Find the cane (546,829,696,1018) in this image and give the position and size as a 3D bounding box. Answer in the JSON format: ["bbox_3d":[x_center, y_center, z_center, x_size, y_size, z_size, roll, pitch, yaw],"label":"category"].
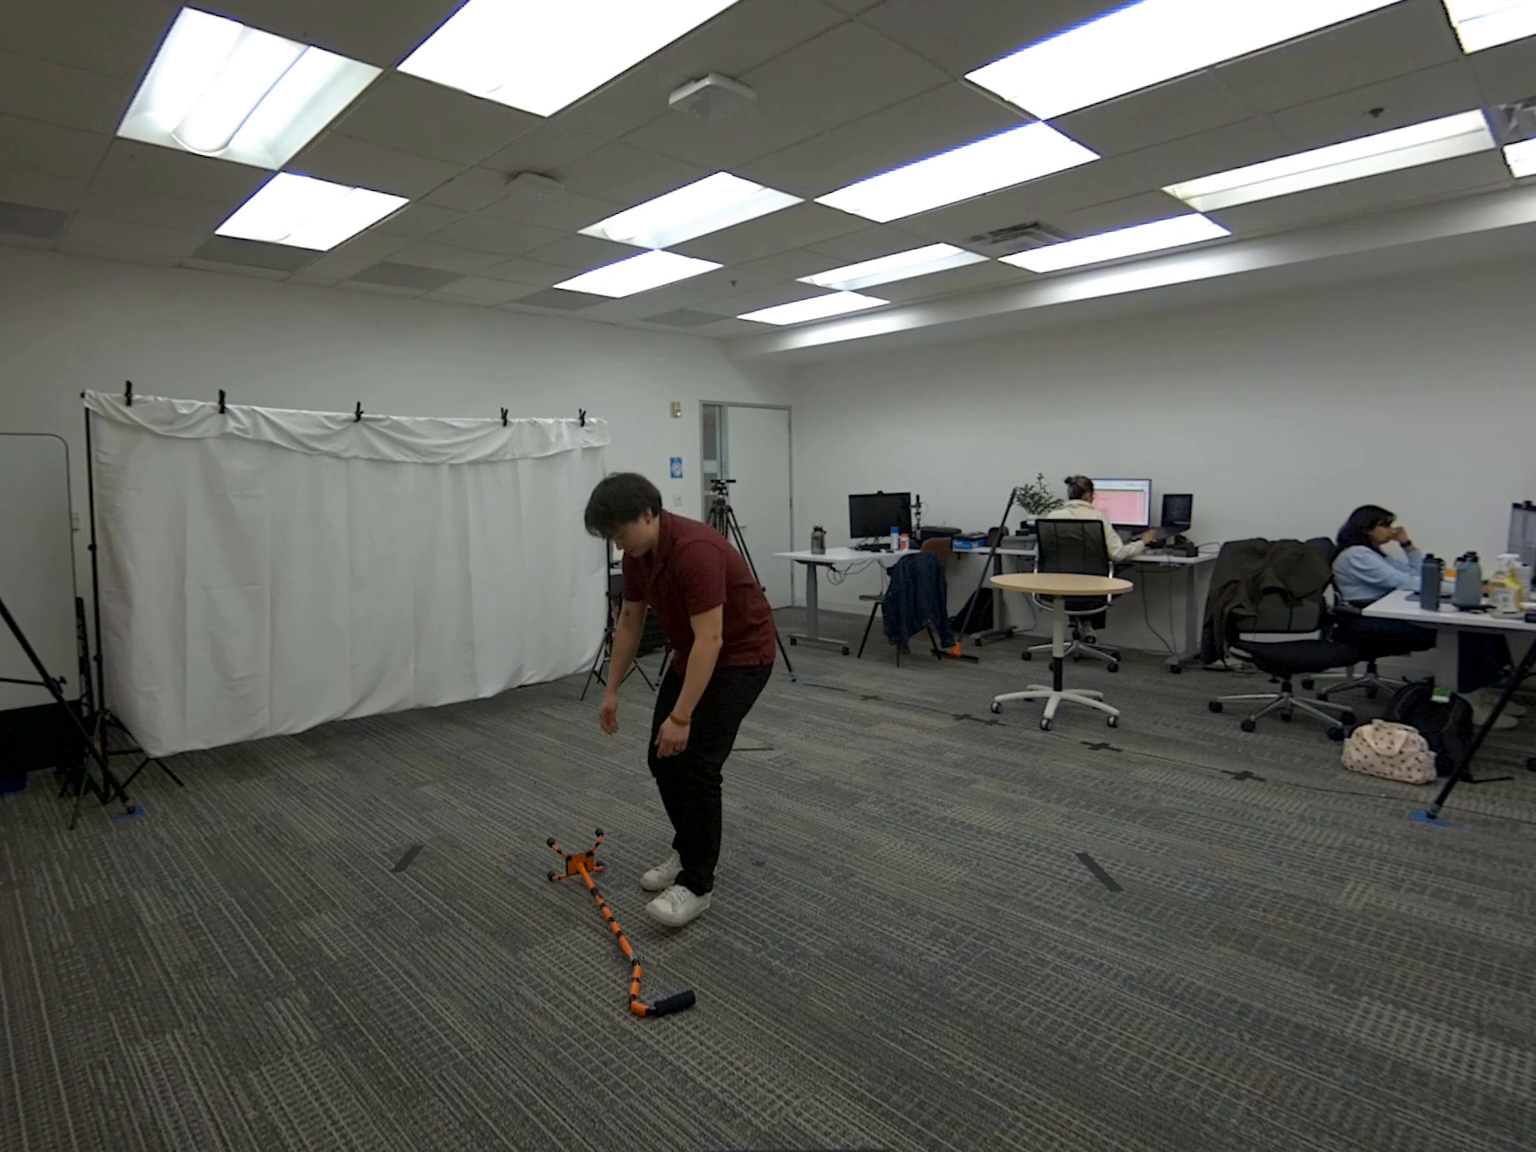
[{"bbox_3d":[-0.476,1.052,2.640,0.202,0.150,0.934,-7,11,-26],"label":"cane"}]
